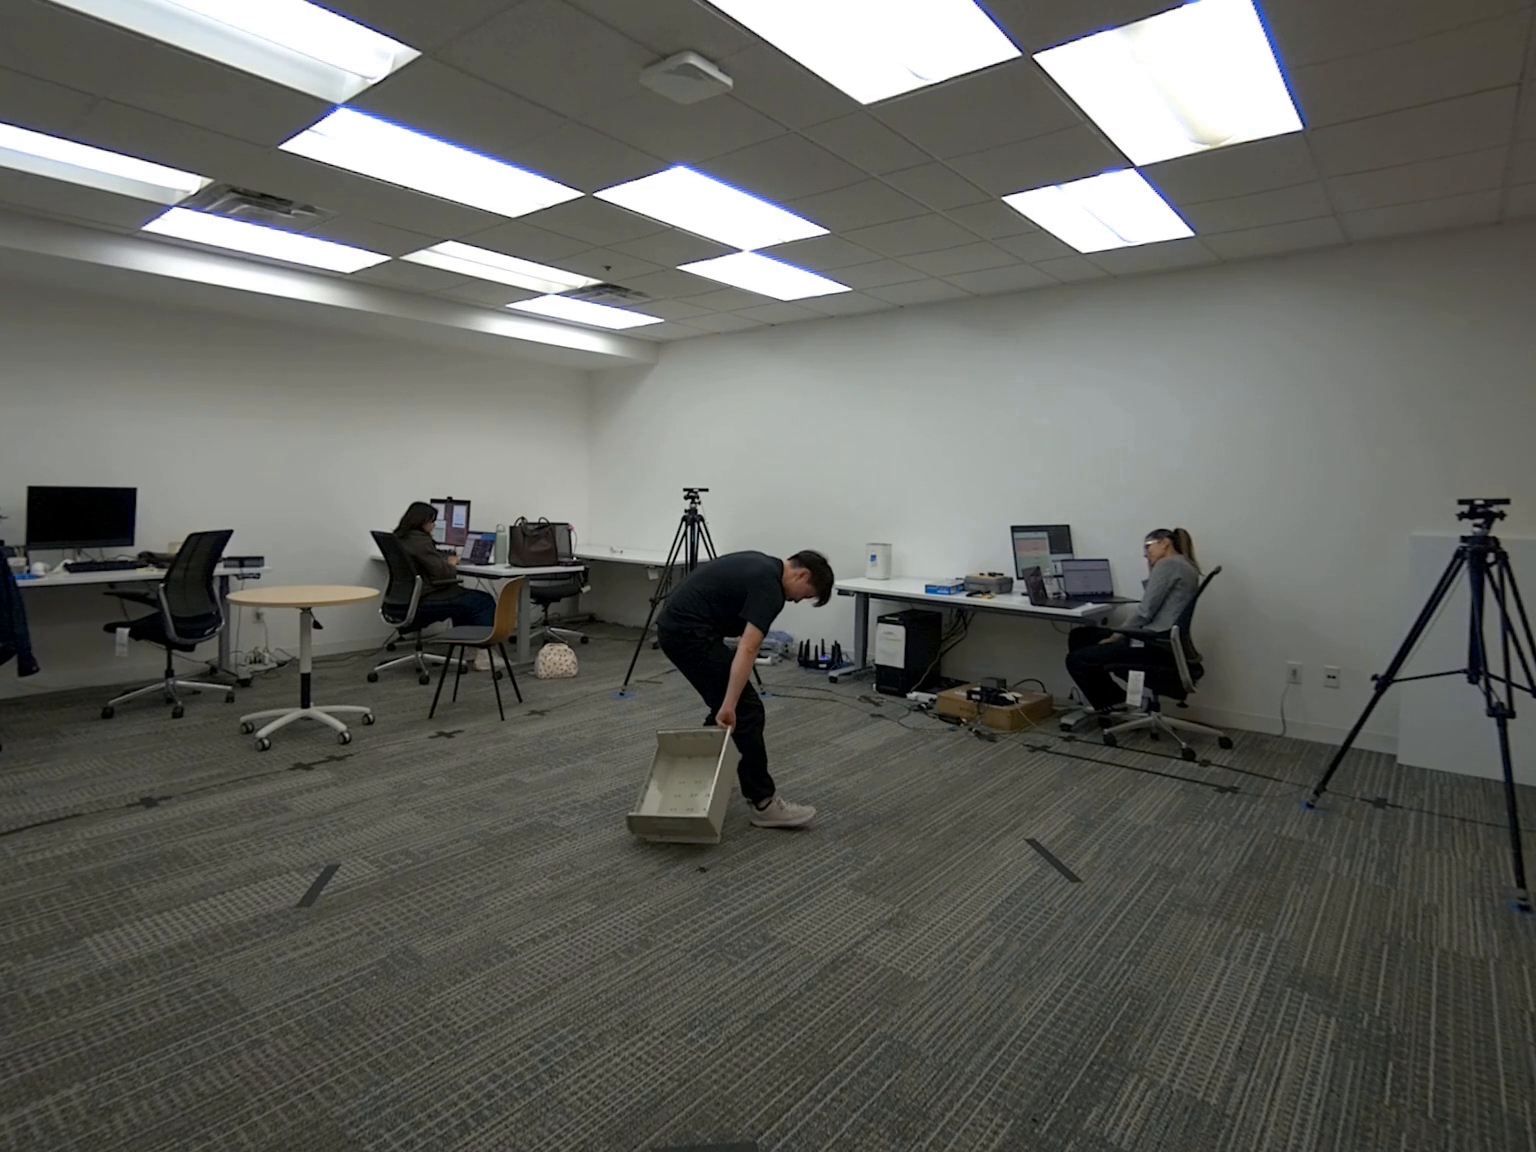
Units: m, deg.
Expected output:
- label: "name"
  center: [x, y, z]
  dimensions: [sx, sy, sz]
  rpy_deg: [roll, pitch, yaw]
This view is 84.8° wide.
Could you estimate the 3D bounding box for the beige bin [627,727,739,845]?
- label: "beige bin"
  center: [-0.348, 0.833, 3.406]
  dimensions: [0.385, 0.182, 0.429]
  rpy_deg: [-6, 38, 21]
